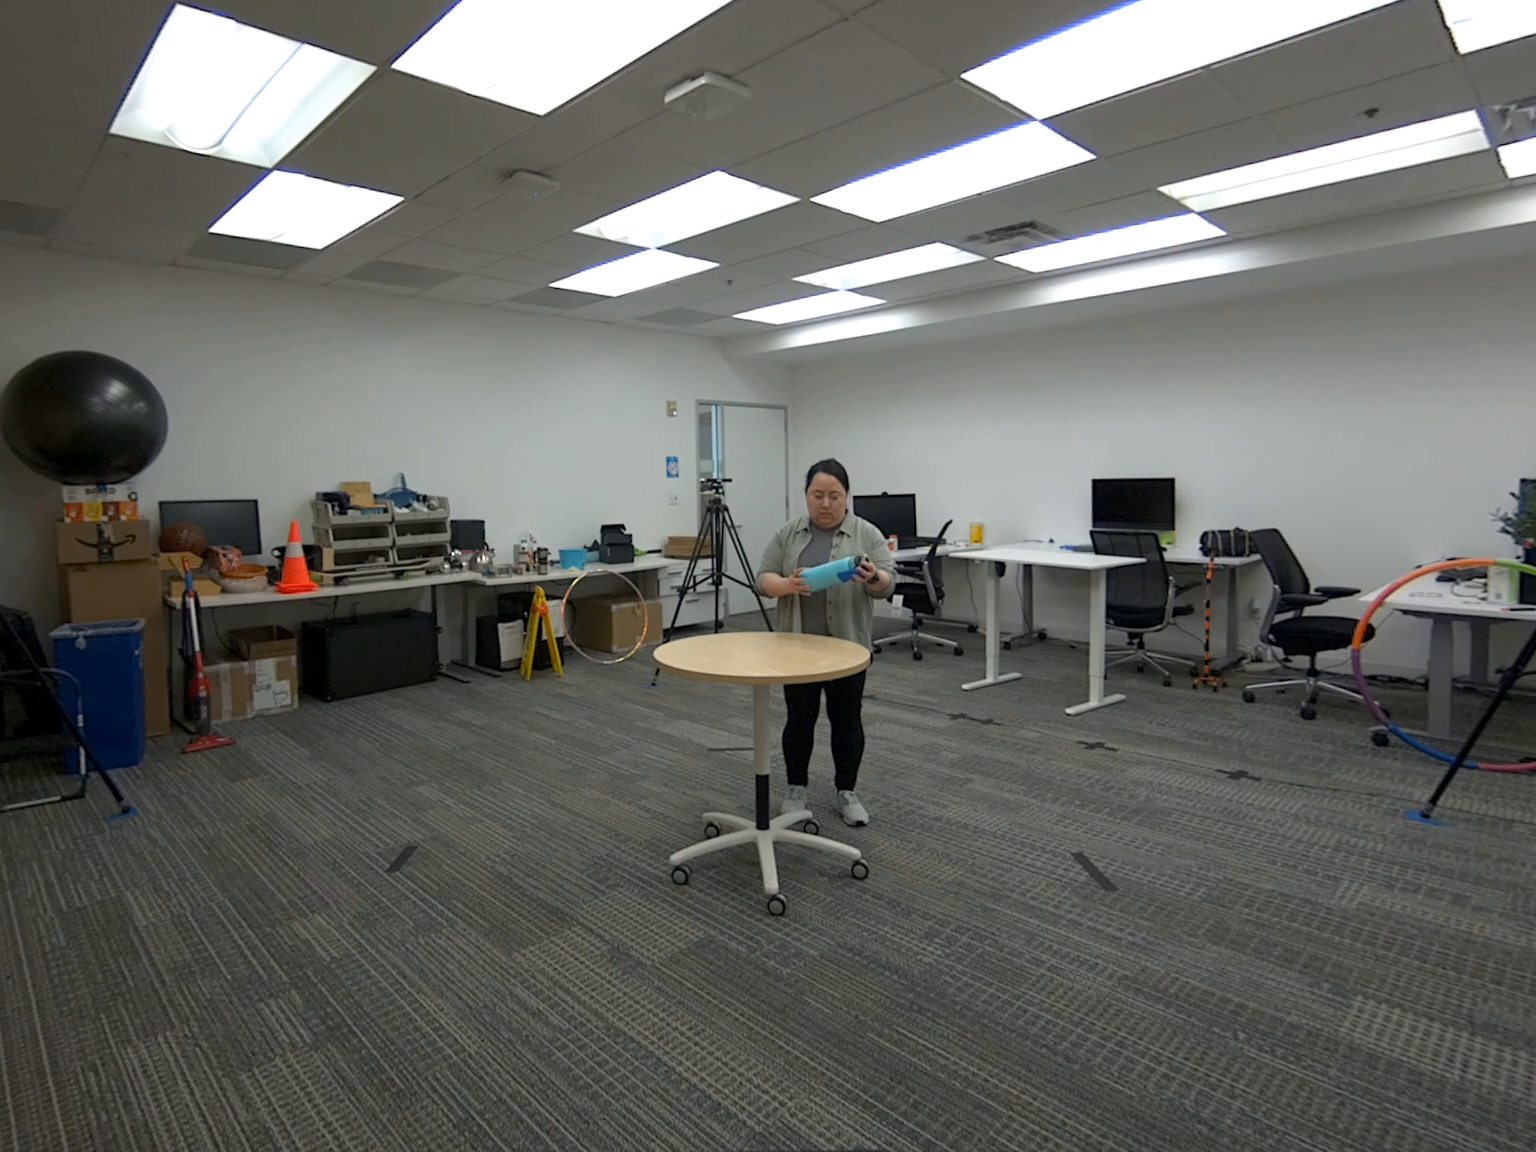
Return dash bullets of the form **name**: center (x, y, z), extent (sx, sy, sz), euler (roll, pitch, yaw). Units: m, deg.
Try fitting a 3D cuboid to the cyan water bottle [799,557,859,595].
- **cyan water bottle**: center (0.250, -0.007, 3.230), extent (0.288, 0.093, 0.090), euler (-19, -8, 41)
